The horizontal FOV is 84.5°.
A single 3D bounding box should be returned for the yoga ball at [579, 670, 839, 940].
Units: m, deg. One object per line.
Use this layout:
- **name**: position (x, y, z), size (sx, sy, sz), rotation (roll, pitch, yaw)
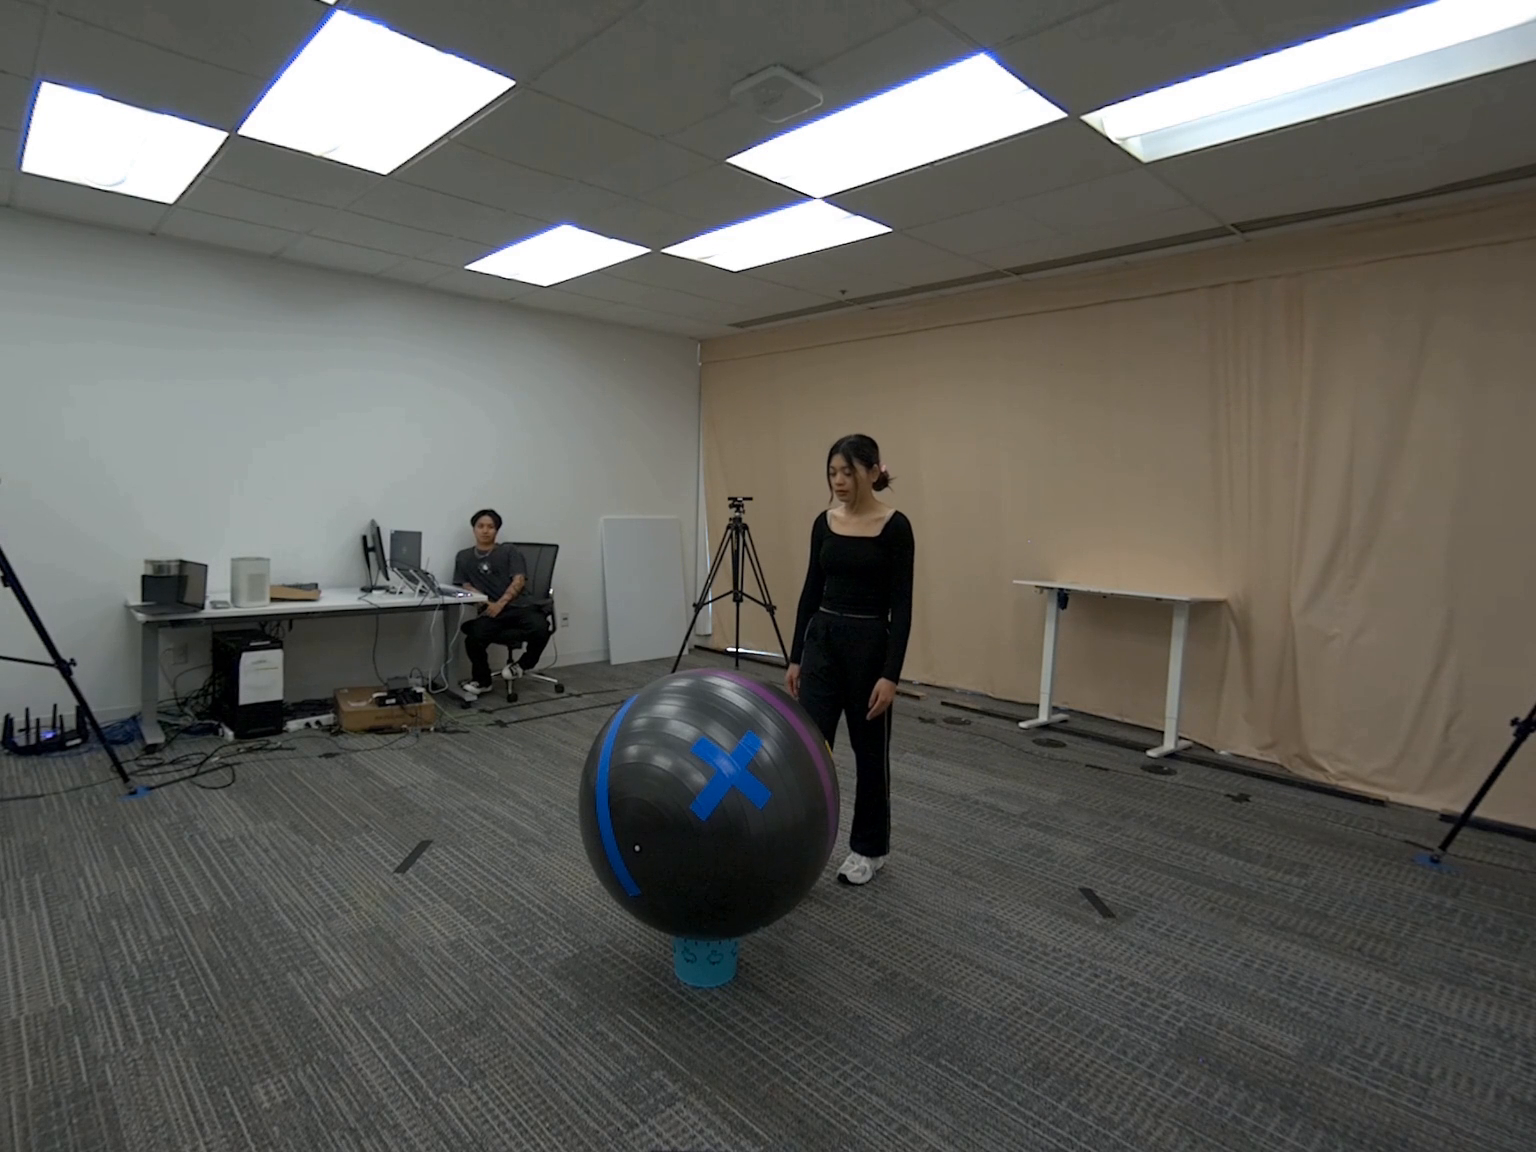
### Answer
- **yoga ball**: position (-0.178, 0.660, 2.458), size (0.757, 0.756, 0.761), rotation (1, 4, -1)
